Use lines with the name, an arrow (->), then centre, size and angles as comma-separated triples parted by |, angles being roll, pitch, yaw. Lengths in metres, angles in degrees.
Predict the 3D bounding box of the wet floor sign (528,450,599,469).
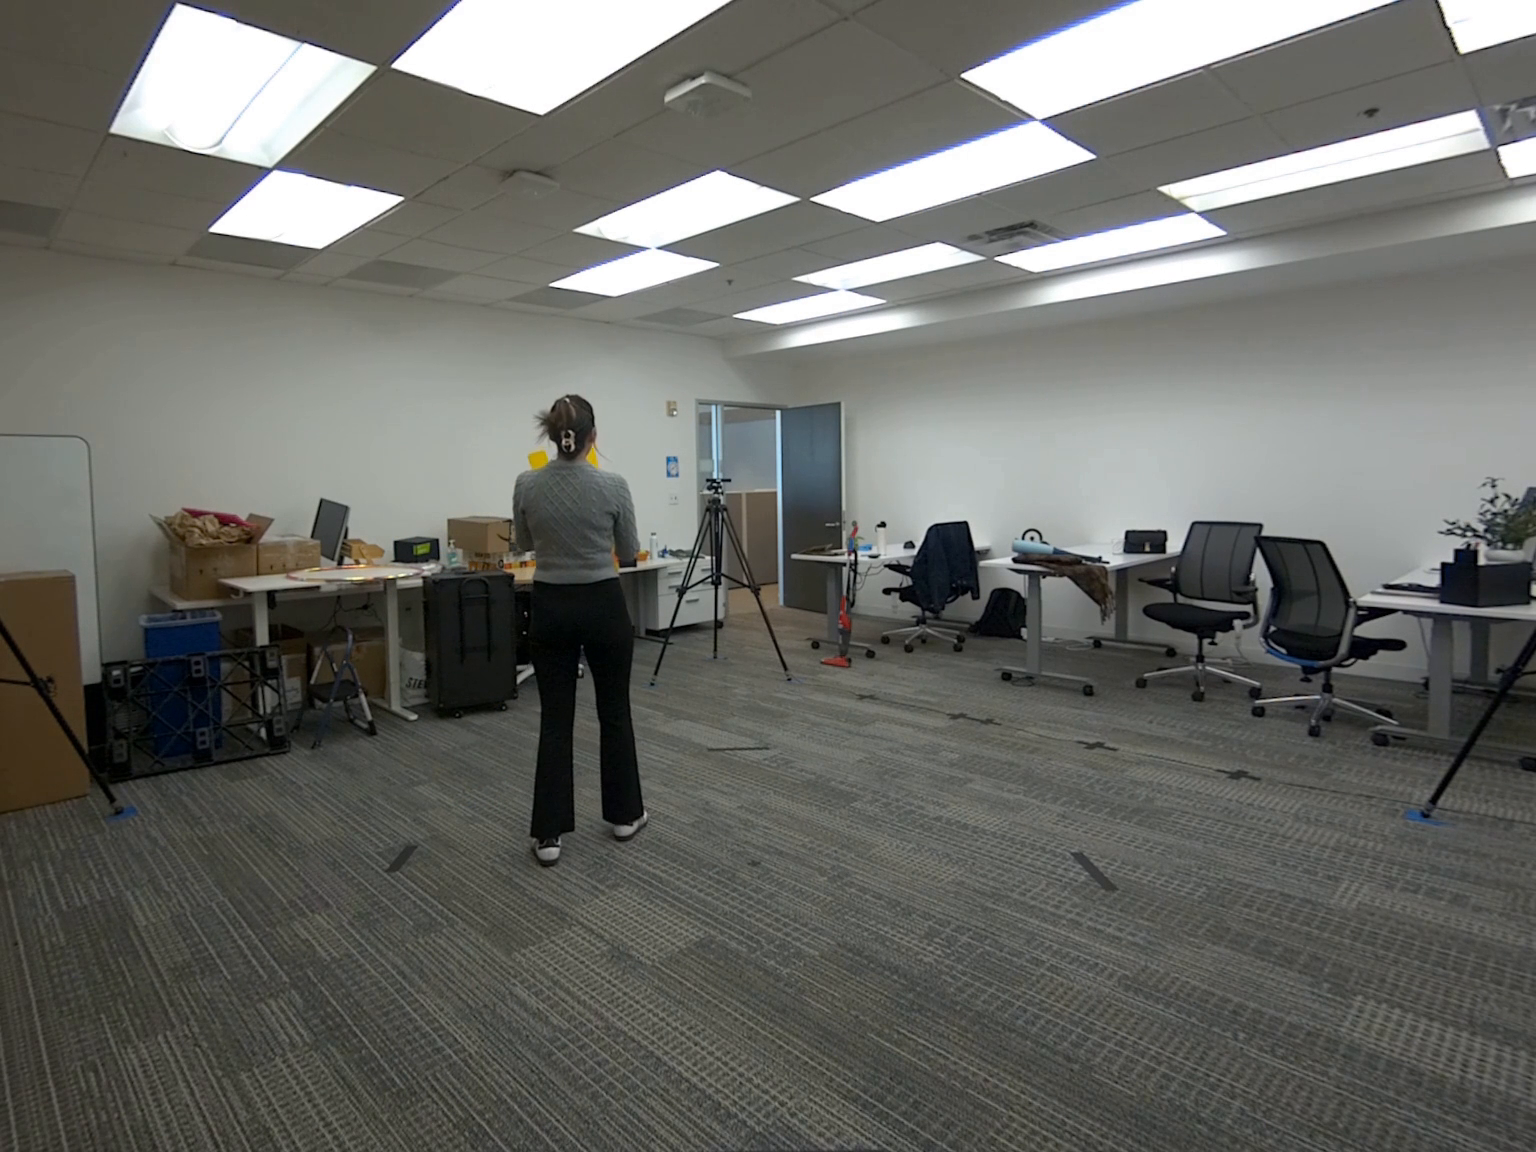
wet floor sign -> -0.799, -0.216, 3.670 | 0.279, 0.652, 0.290 | -16, -8, -17
